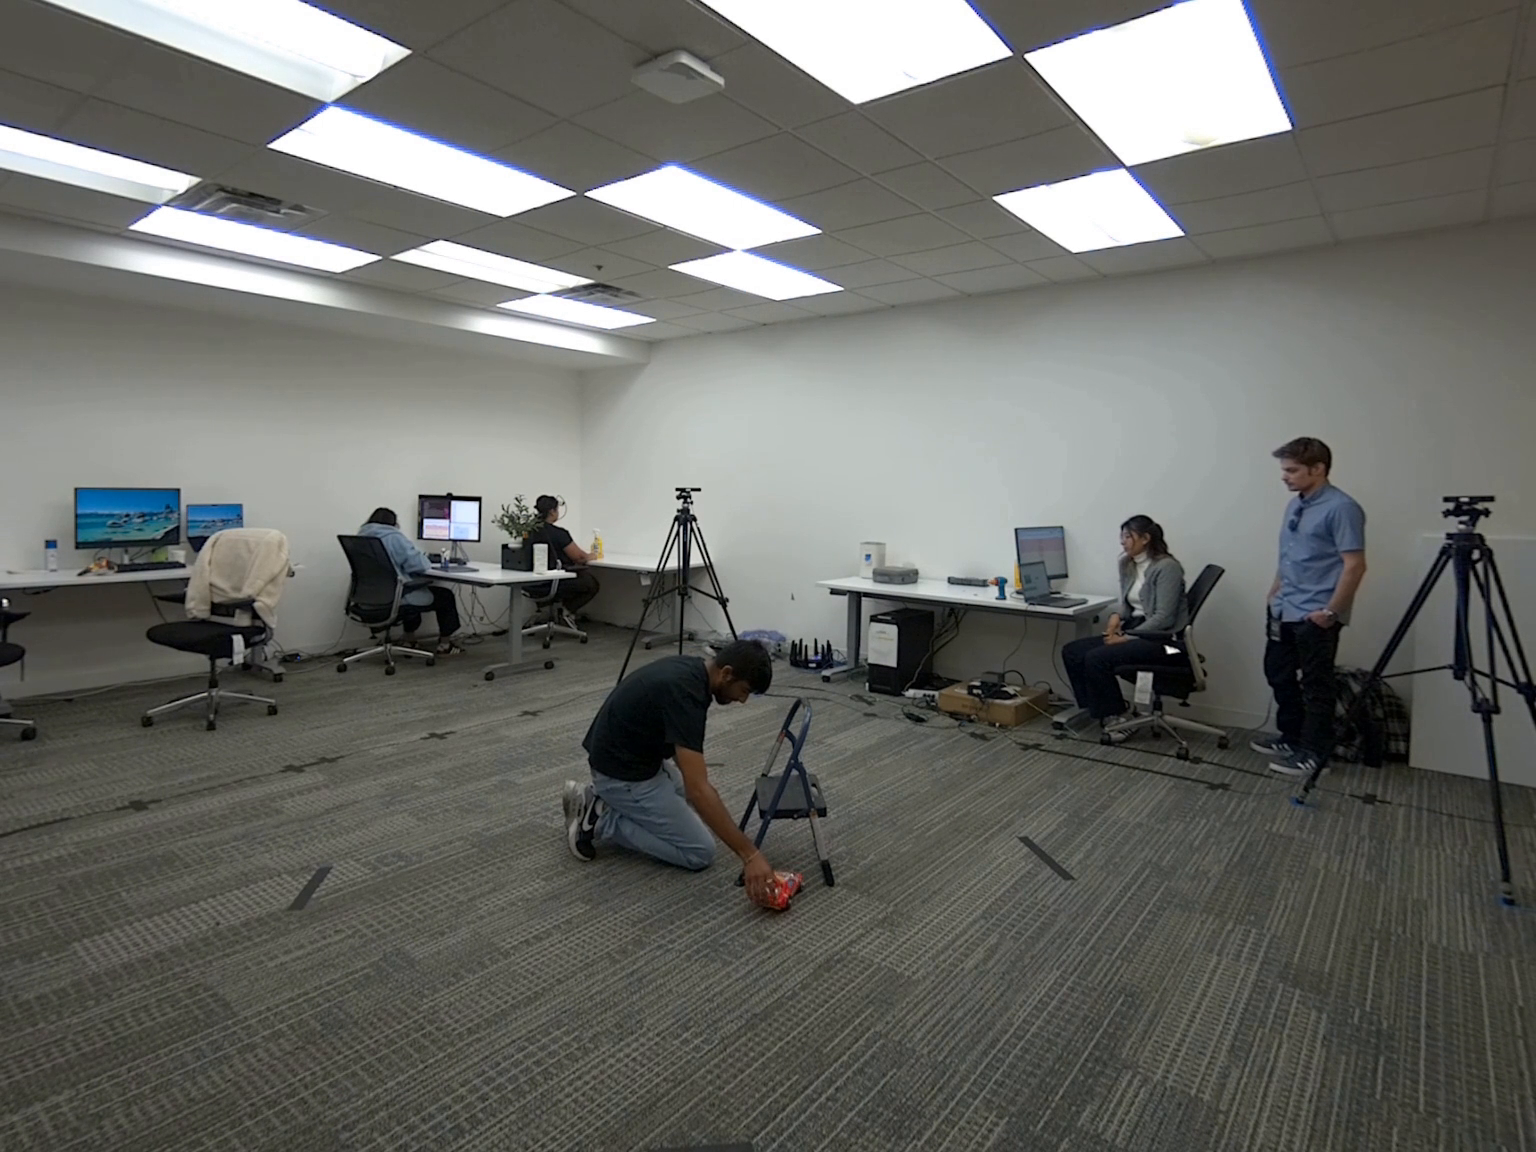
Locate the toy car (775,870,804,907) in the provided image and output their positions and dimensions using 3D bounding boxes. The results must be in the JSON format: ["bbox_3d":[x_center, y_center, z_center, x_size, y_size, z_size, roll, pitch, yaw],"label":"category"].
[{"bbox_3d":[0.033,1.067,2.880,0.133,0.084,0.247,3,-6,20],"label":"toy car"}]
